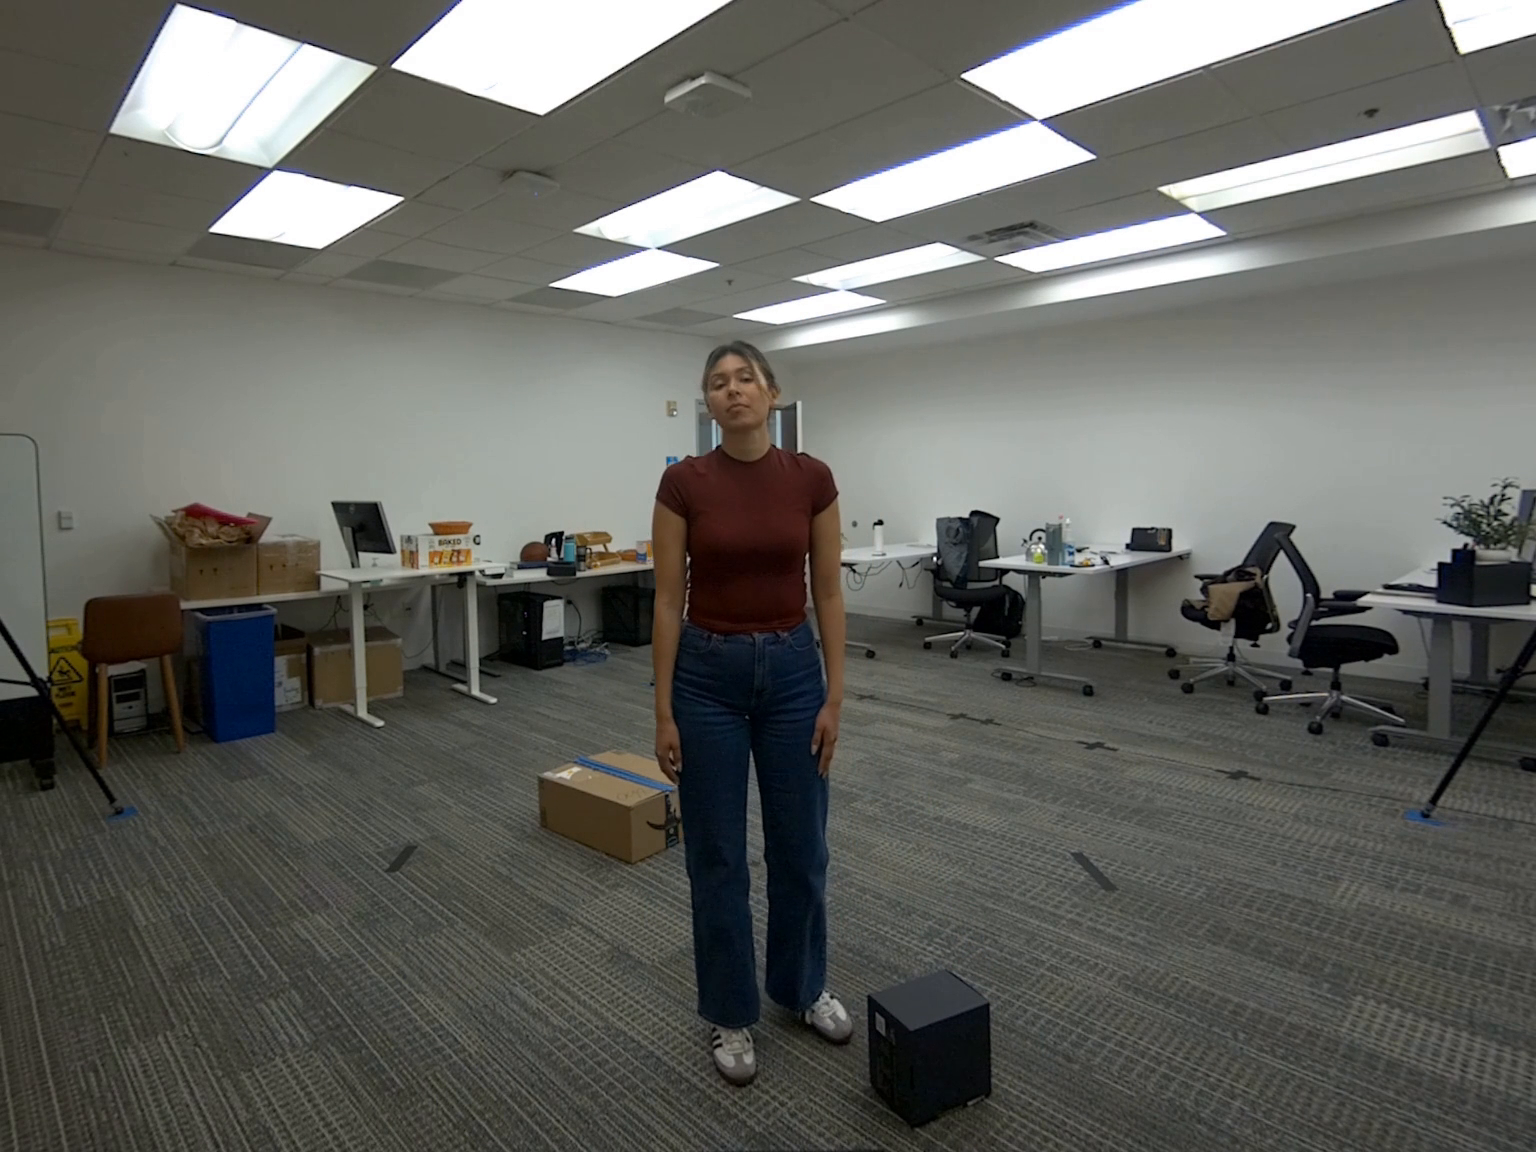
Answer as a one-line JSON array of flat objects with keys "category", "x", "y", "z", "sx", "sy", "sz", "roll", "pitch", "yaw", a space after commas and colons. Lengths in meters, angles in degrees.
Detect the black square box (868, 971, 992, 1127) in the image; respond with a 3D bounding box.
[{"category": "black square box", "x": 0.371, "y": 1.055, "z": 1.942, "sx": 0.223, "sy": 0.216, "sz": 0.160, "roll": -3, "pitch": 3, "yaw": -27}]
